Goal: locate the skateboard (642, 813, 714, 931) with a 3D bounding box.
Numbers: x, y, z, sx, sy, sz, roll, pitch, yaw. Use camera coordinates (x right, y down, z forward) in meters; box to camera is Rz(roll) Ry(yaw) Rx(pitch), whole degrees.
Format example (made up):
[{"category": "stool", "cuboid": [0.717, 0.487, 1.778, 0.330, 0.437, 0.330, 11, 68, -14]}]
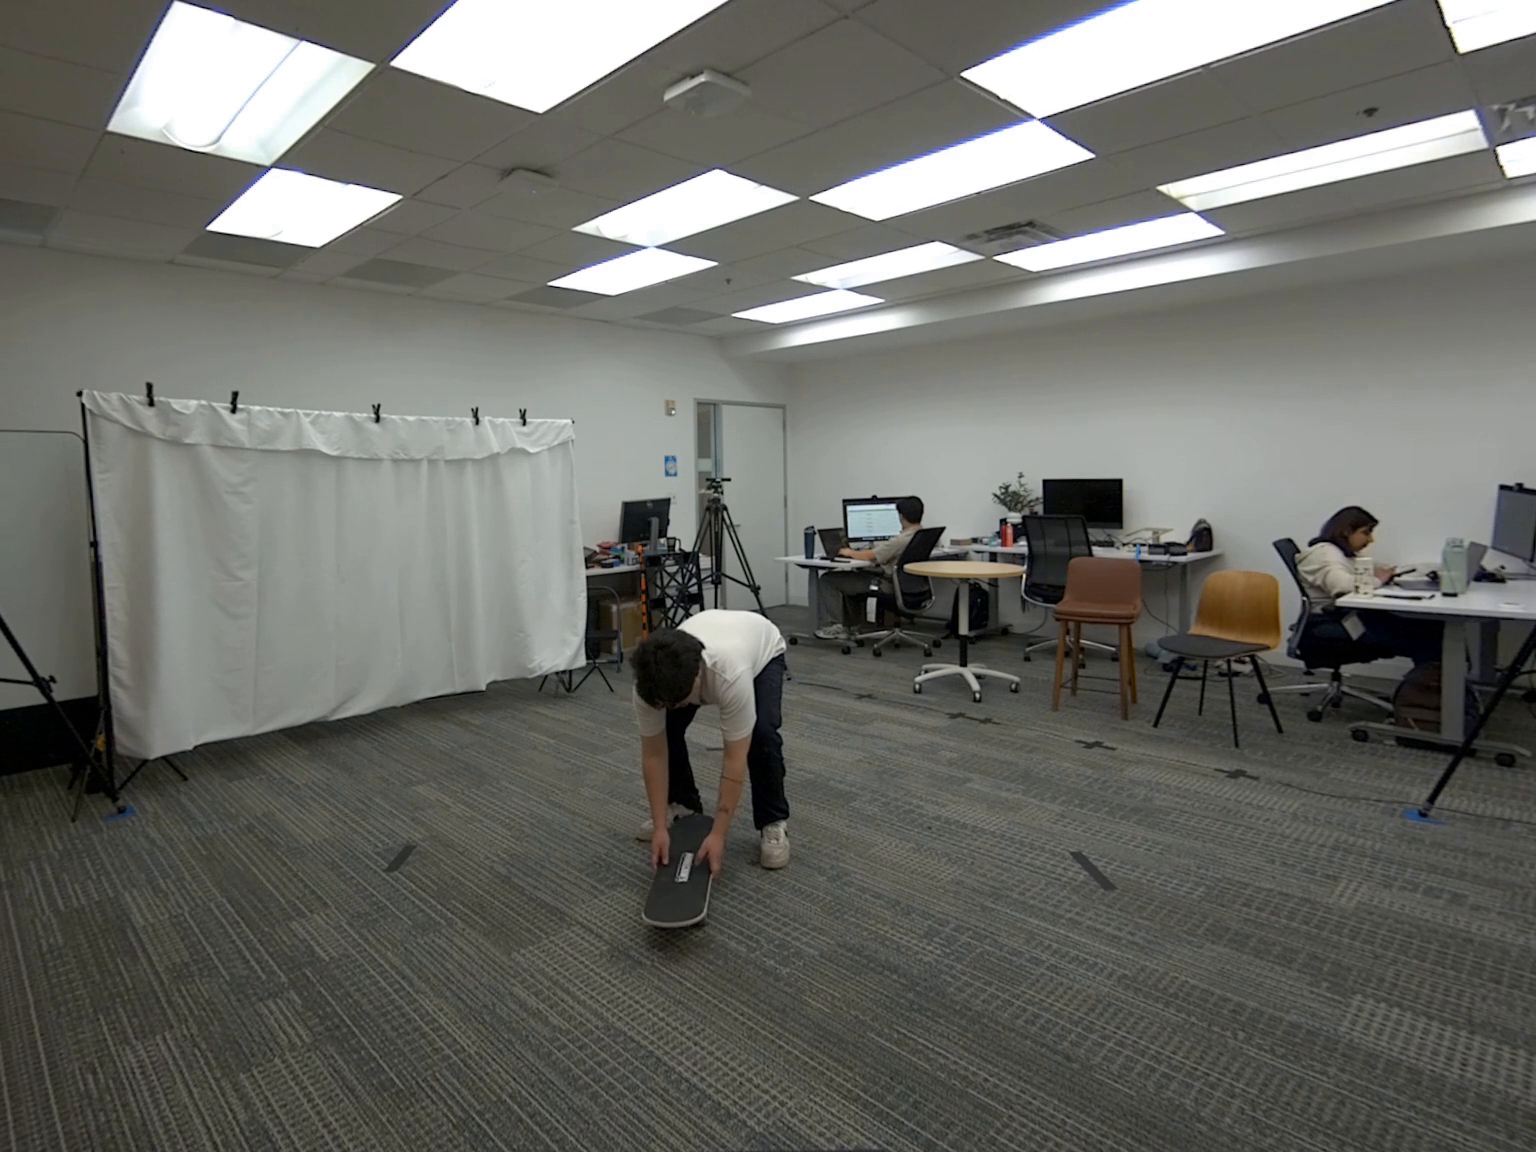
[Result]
[{"category": "skateboard", "cuboid": [-0.273, 1.015, 2.876, 0.194, 0.110, 0.788, -2, 7, 1]}]
